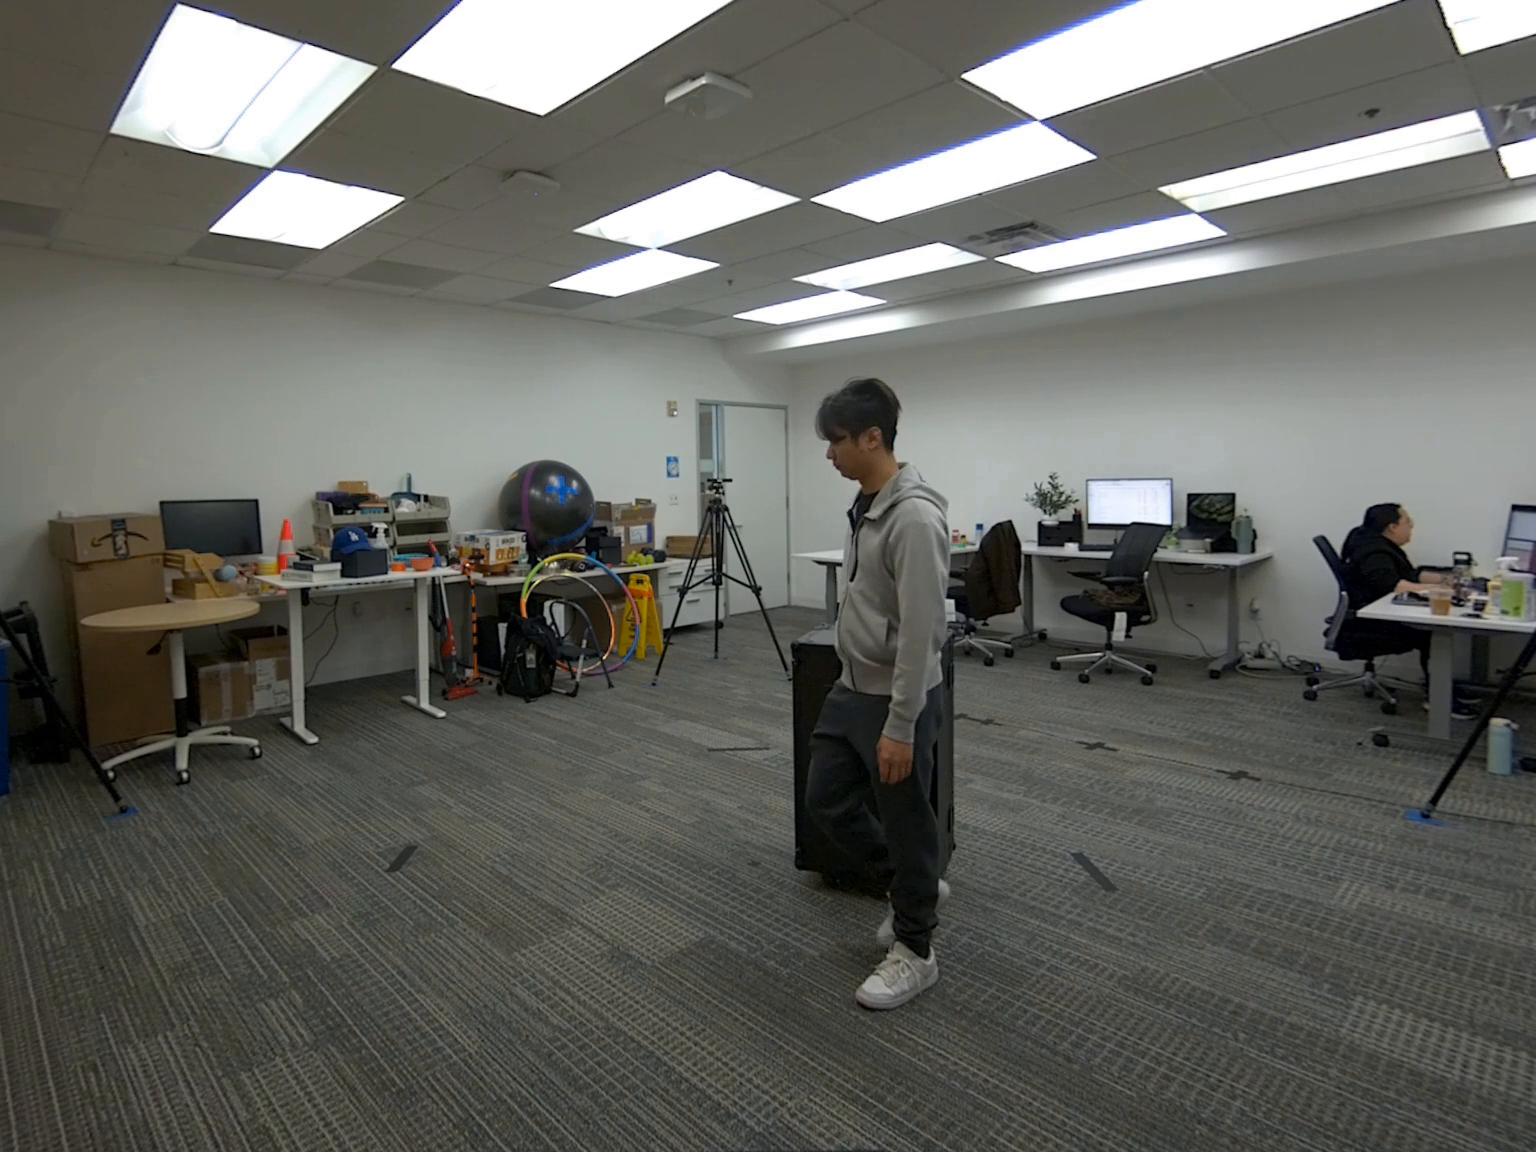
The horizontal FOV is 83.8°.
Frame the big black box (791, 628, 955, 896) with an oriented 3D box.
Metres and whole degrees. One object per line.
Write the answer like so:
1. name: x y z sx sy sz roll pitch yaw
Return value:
1. big black box: 0.374 0.632 2.938 0.532 0.857 0.390 1 6 23
